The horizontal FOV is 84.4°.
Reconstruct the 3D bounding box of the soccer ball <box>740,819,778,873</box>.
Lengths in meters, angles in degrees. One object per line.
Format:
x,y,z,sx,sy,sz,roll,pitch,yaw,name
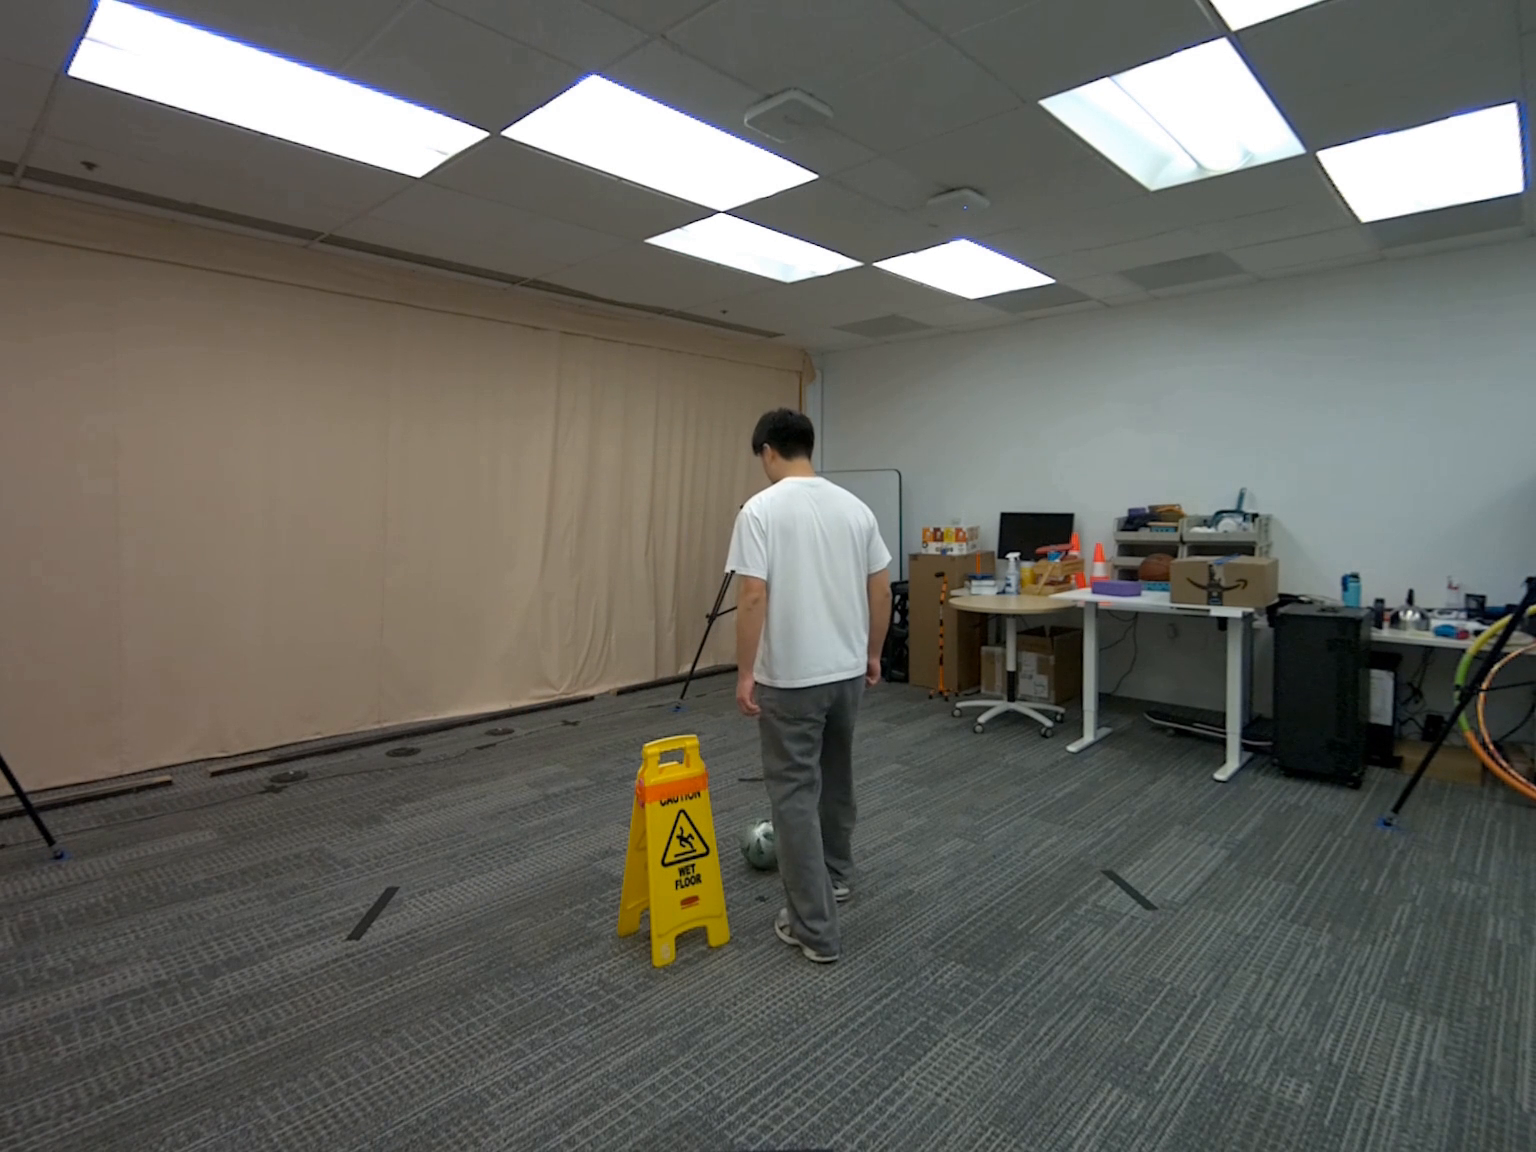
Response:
0.003,1.033,3.231,0.187,0.187,0.188,0,4,-2,soccer ball
